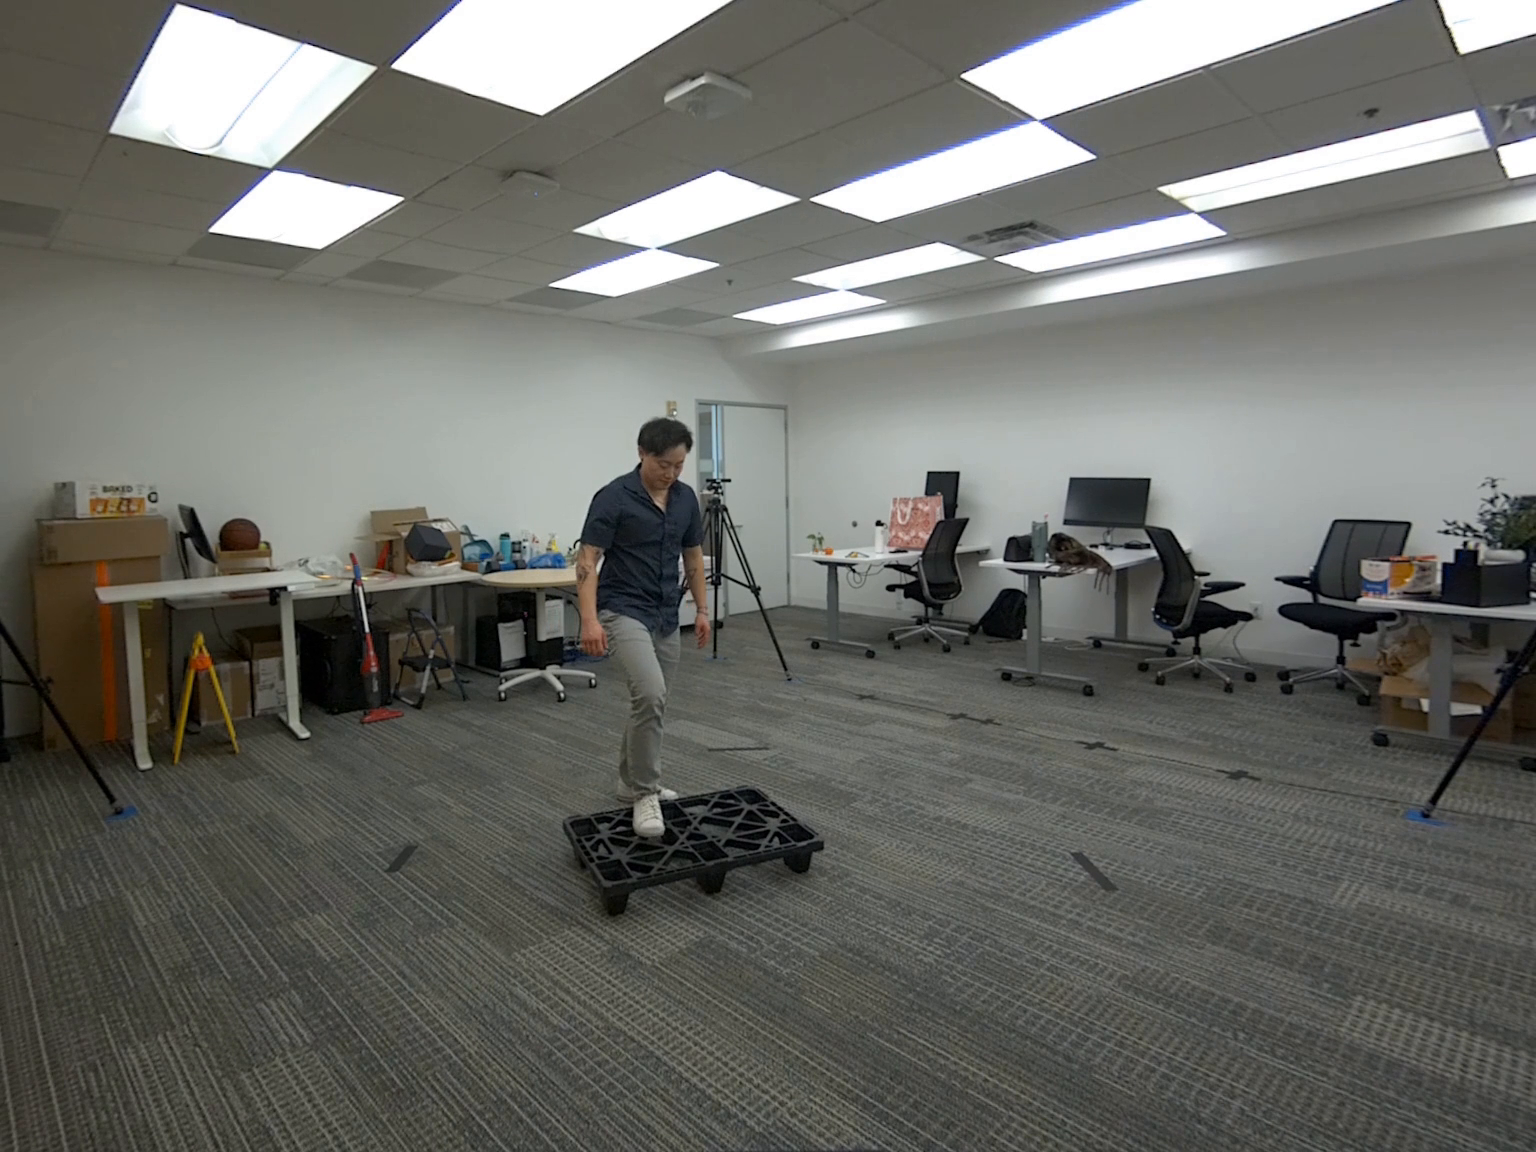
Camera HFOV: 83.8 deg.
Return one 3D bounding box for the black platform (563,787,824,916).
[{"bbox_3d":[-0.287,0.982,3.102,0.789,0.143,0.620,-4,7,-24],"label":"black platform"}]
